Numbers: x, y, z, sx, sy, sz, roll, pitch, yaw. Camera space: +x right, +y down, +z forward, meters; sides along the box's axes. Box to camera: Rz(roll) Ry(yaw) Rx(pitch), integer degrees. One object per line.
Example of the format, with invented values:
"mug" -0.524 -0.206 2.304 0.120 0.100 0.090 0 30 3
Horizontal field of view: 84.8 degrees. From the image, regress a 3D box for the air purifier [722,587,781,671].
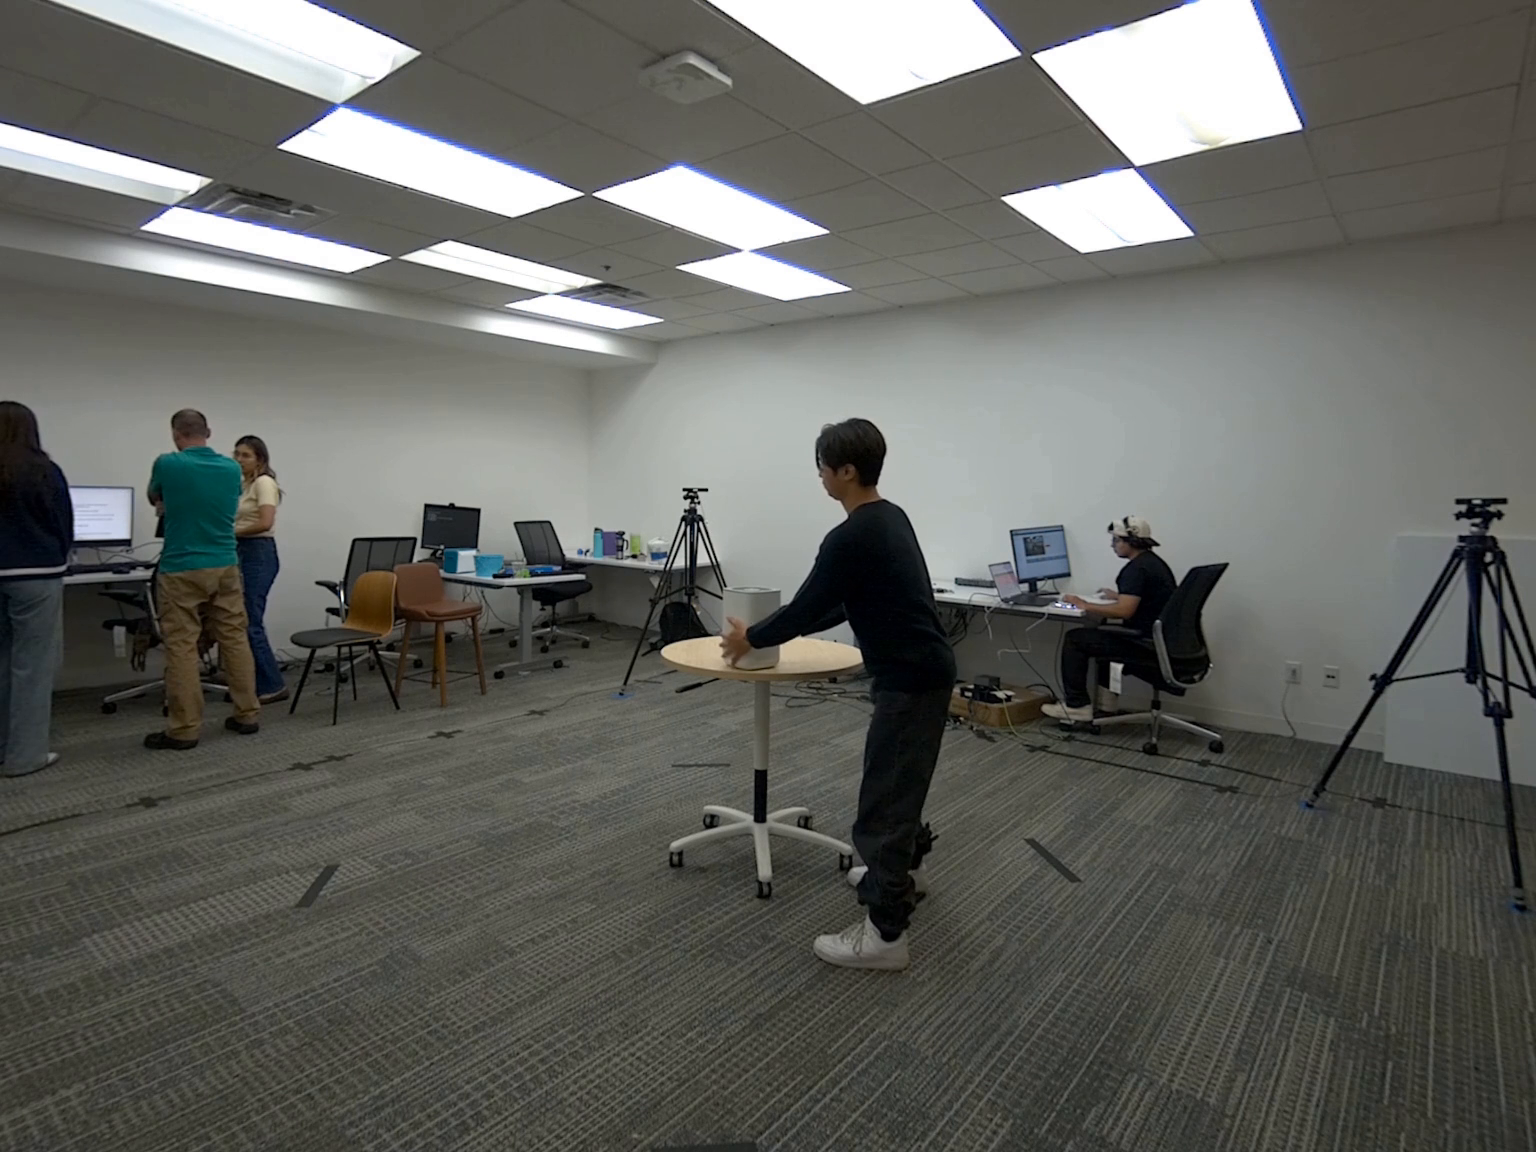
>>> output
"air purifier" -0.063 0.174 2.926 0.166 0.264 0.177 -2 5 -39
